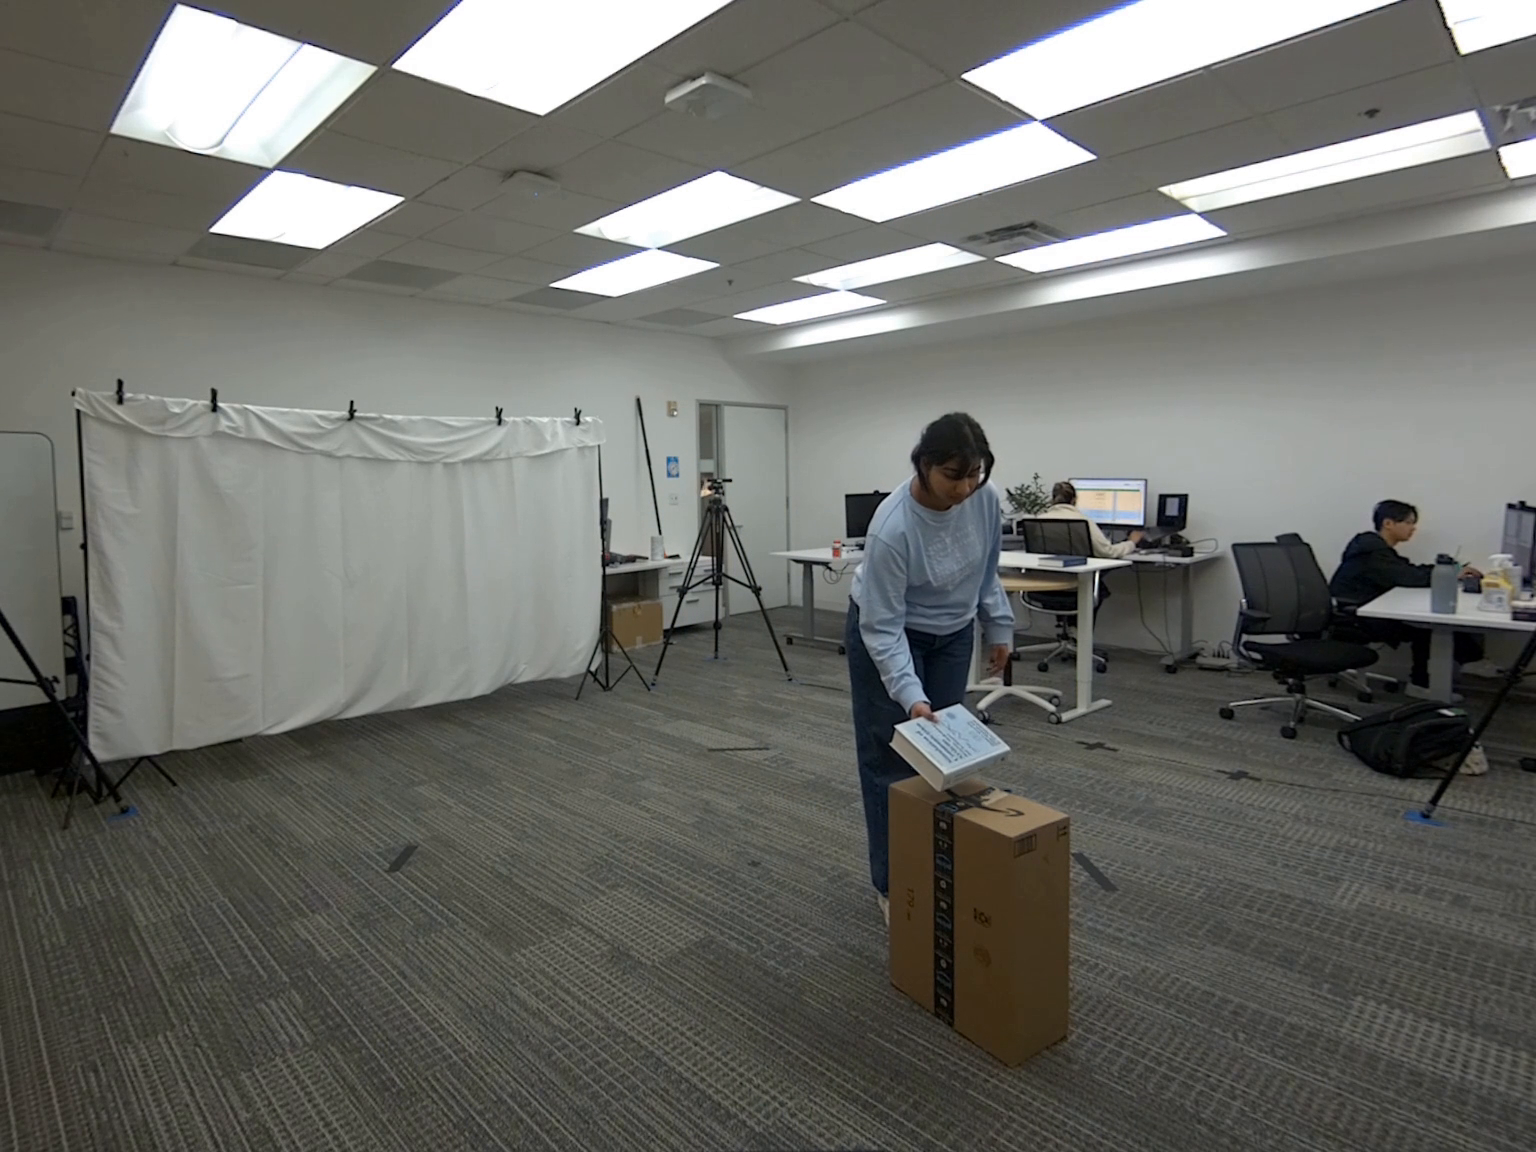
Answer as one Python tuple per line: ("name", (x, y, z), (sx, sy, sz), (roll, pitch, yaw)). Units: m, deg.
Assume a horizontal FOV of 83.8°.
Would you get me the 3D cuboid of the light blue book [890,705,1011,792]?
("light blue book", (0.474, 0.444, 2.254), (0.255, 0.058, 0.199), (-10, 35, -36))
